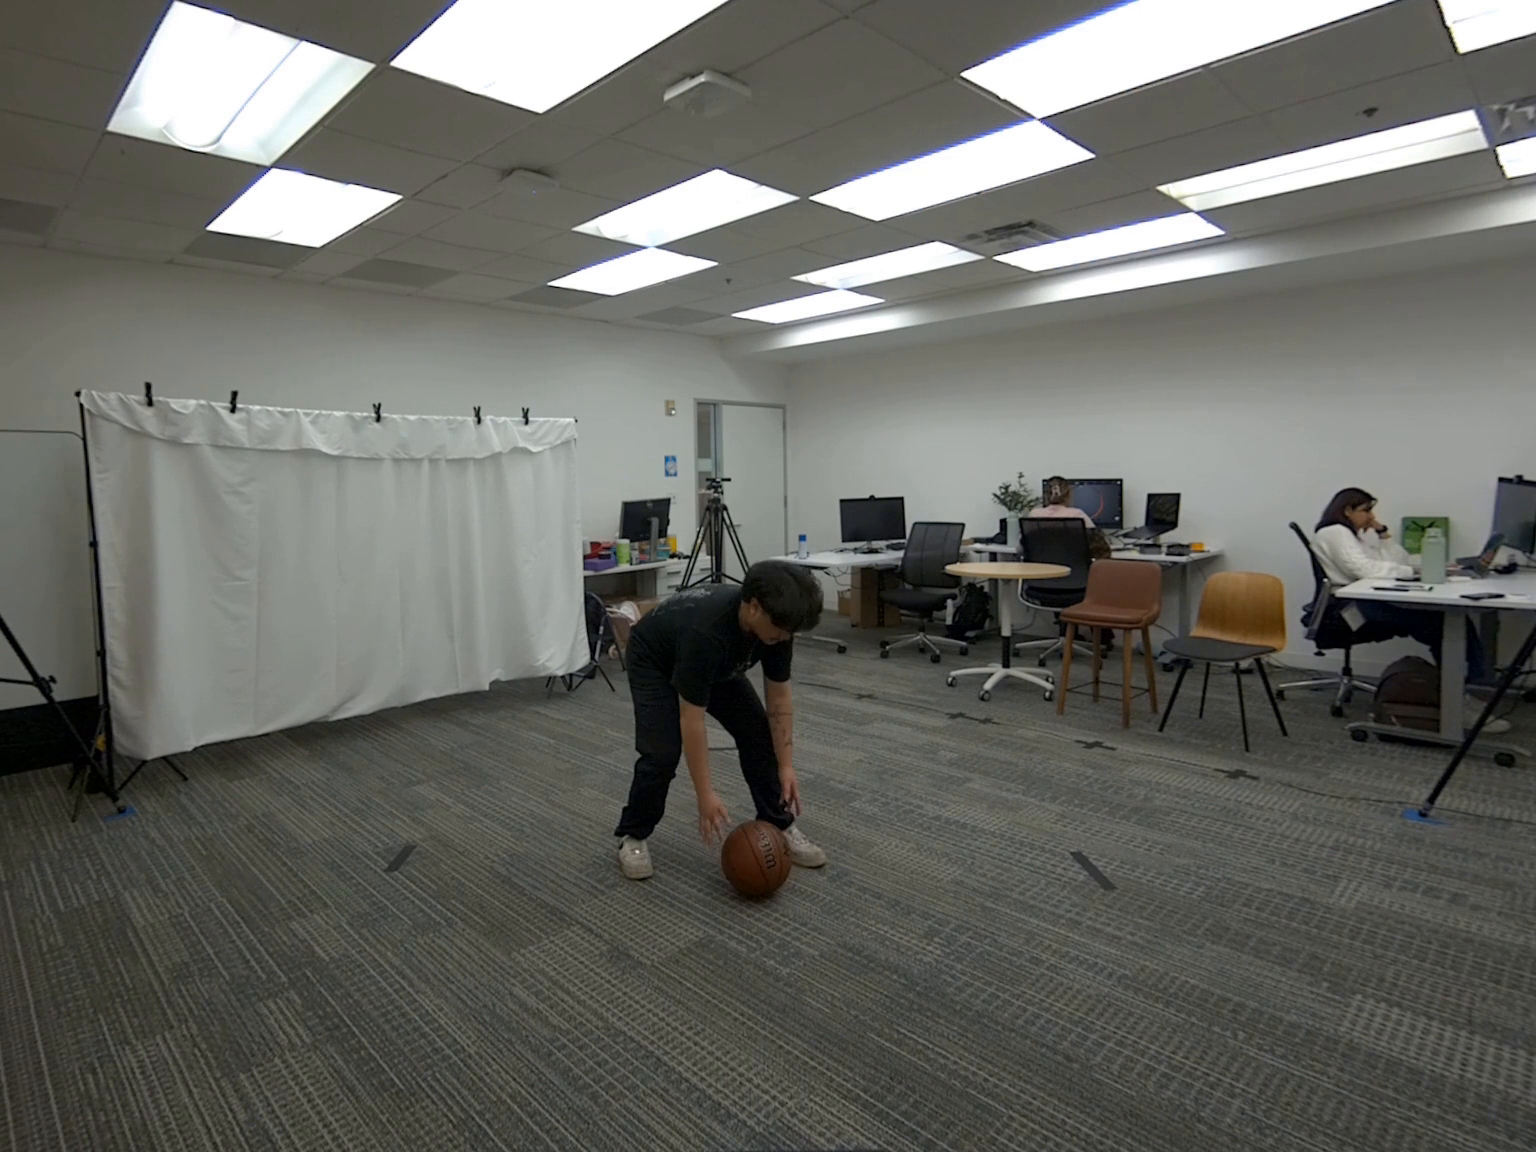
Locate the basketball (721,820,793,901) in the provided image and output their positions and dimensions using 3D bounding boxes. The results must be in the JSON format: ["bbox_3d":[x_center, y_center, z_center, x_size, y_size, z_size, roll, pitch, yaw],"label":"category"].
[{"bbox_3d":[-0.037,0.949,2.872,0.236,0.235,0.237,-1,5,-2],"label":"basketball"}]
